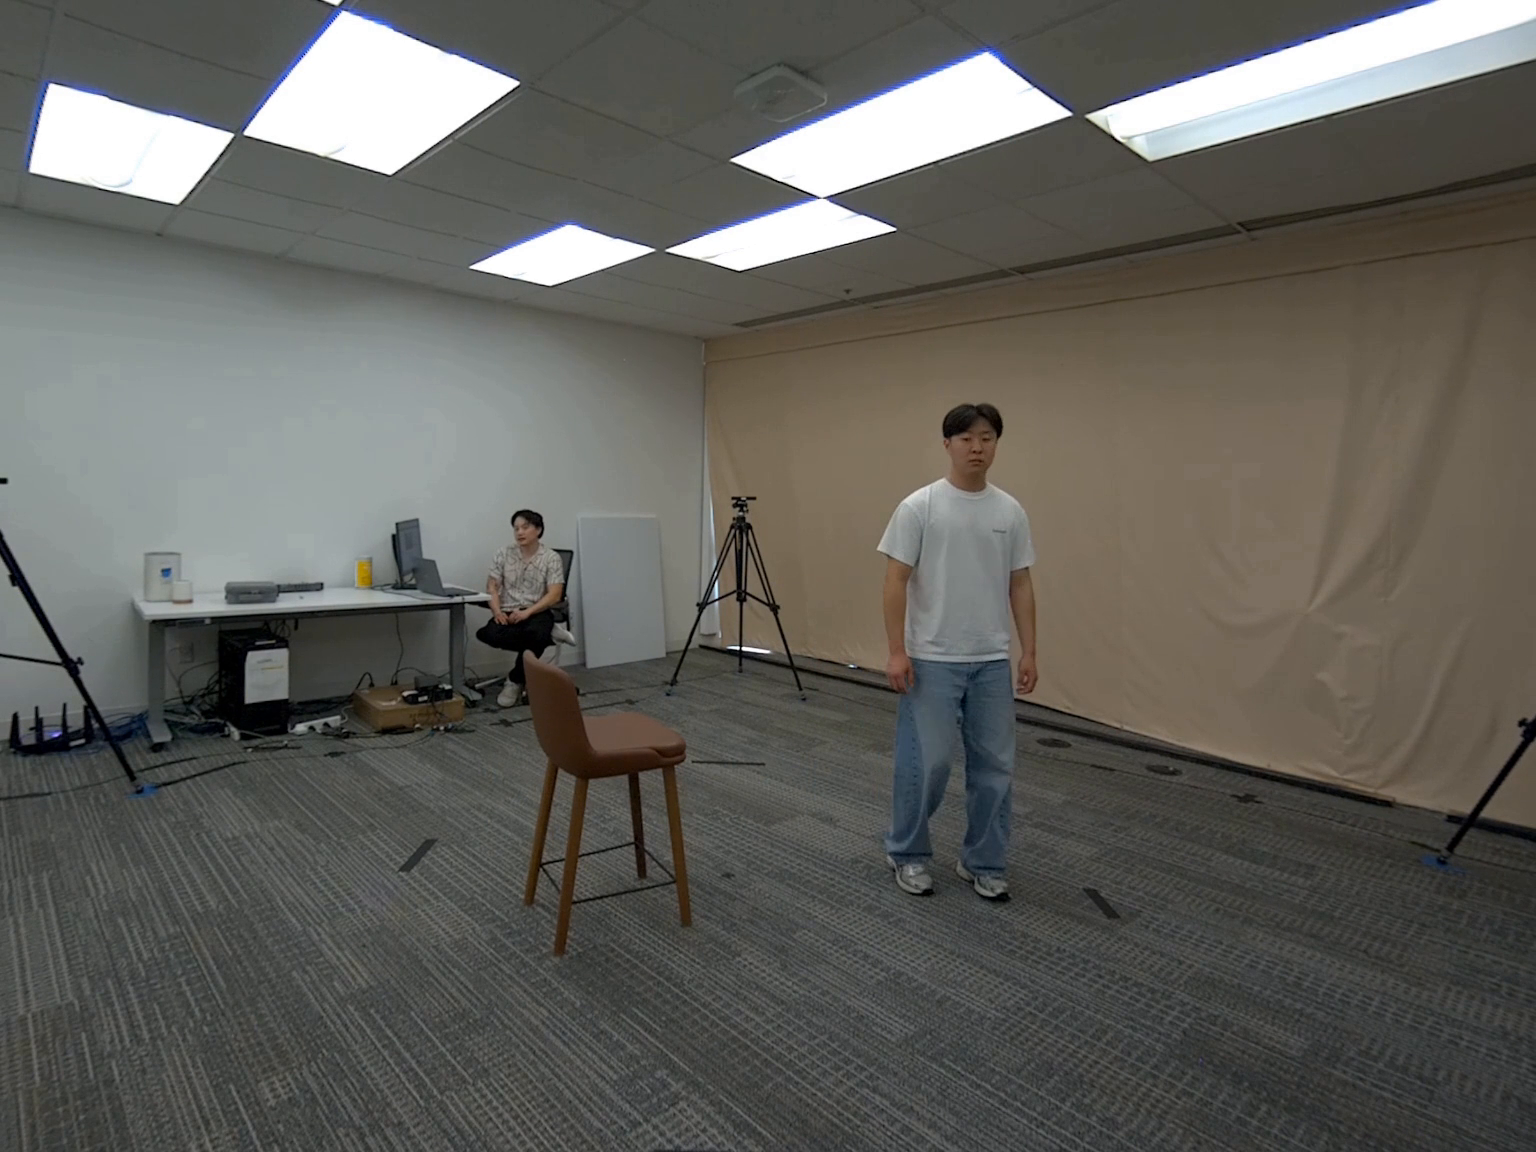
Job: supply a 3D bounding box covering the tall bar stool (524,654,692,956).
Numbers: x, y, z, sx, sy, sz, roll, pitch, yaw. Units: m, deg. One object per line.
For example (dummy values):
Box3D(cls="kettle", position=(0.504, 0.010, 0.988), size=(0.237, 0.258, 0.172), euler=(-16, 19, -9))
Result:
Box3D(cls="tall bar stool", position=(-0.542, 0.691, 2.774), size=(0.458, 0.887, 0.467), euler=(-3, 5, -30))
